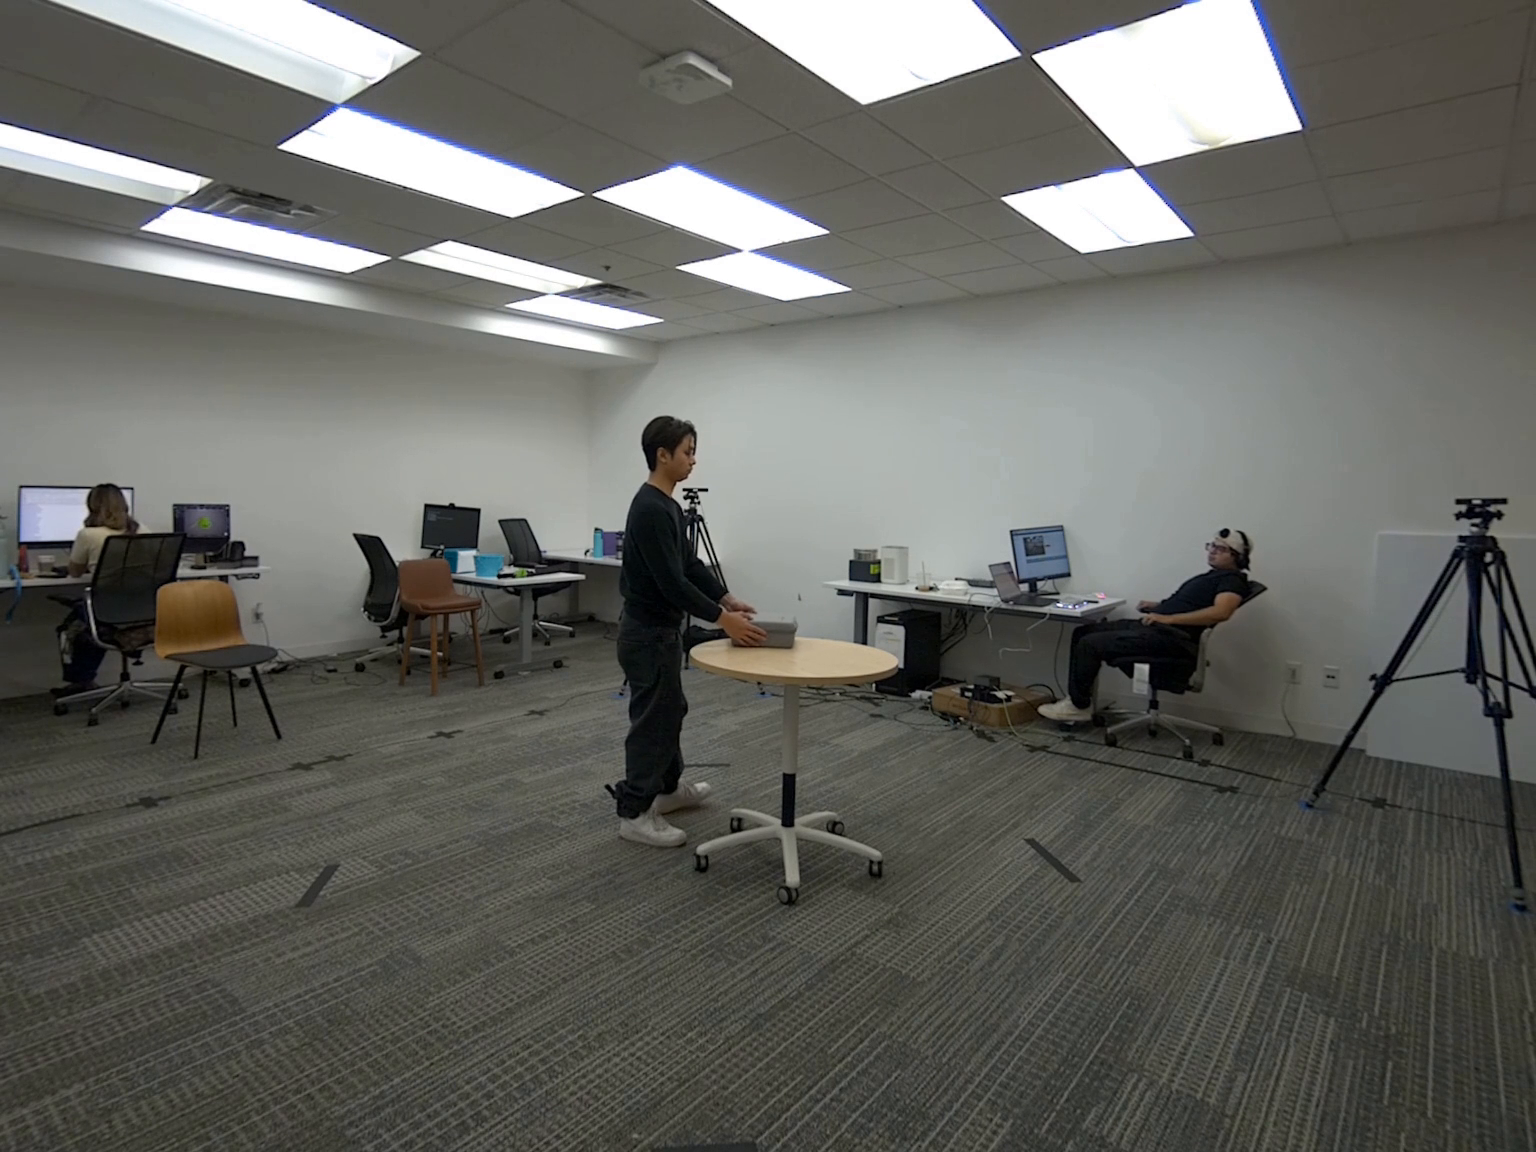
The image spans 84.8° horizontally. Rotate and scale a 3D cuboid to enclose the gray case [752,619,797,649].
[{"bbox_3d":[-0.026,0.215,3.368,0.262,0.104,0.256,1,6,5],"label":"gray case"}]
